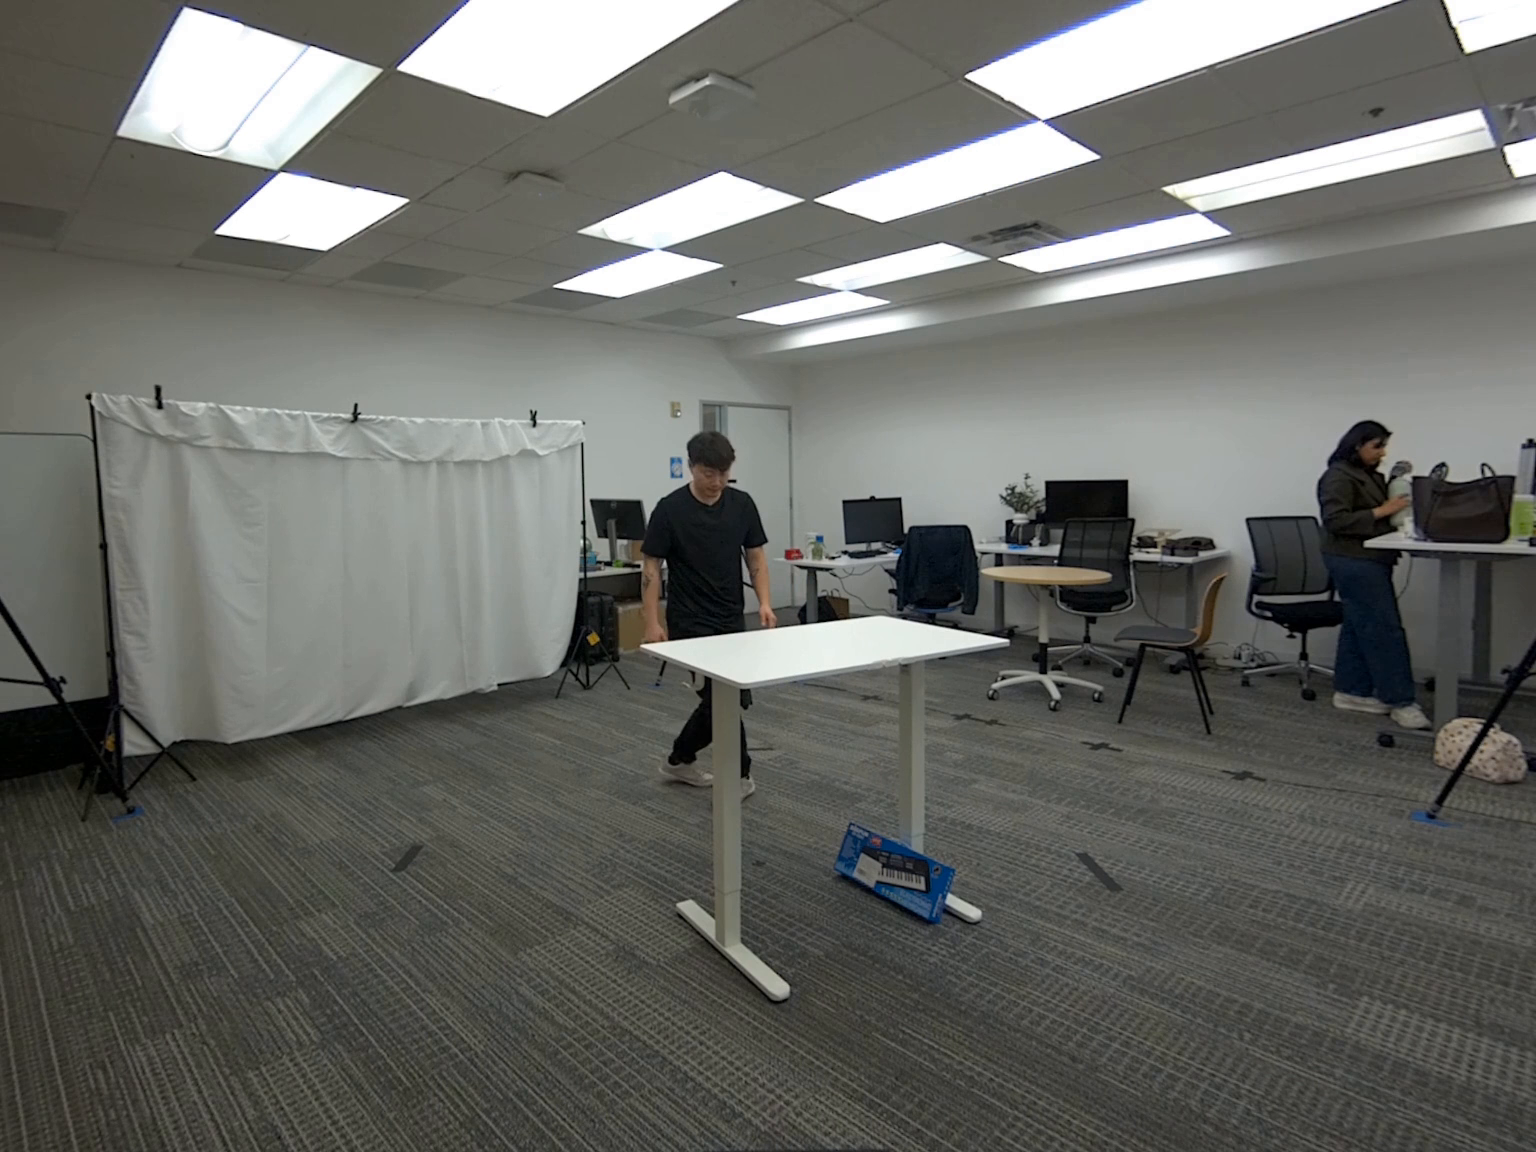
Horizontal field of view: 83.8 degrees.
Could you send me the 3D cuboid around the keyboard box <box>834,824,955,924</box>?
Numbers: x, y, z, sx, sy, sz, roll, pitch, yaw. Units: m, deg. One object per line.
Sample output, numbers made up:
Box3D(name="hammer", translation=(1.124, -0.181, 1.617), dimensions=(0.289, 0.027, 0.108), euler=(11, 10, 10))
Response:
Box3D(name="keyboard box", translation=(0.416, 0.985, 2.849), dimensions=(0.057, 0.177, 0.450), euler=(29, -12, -34))
